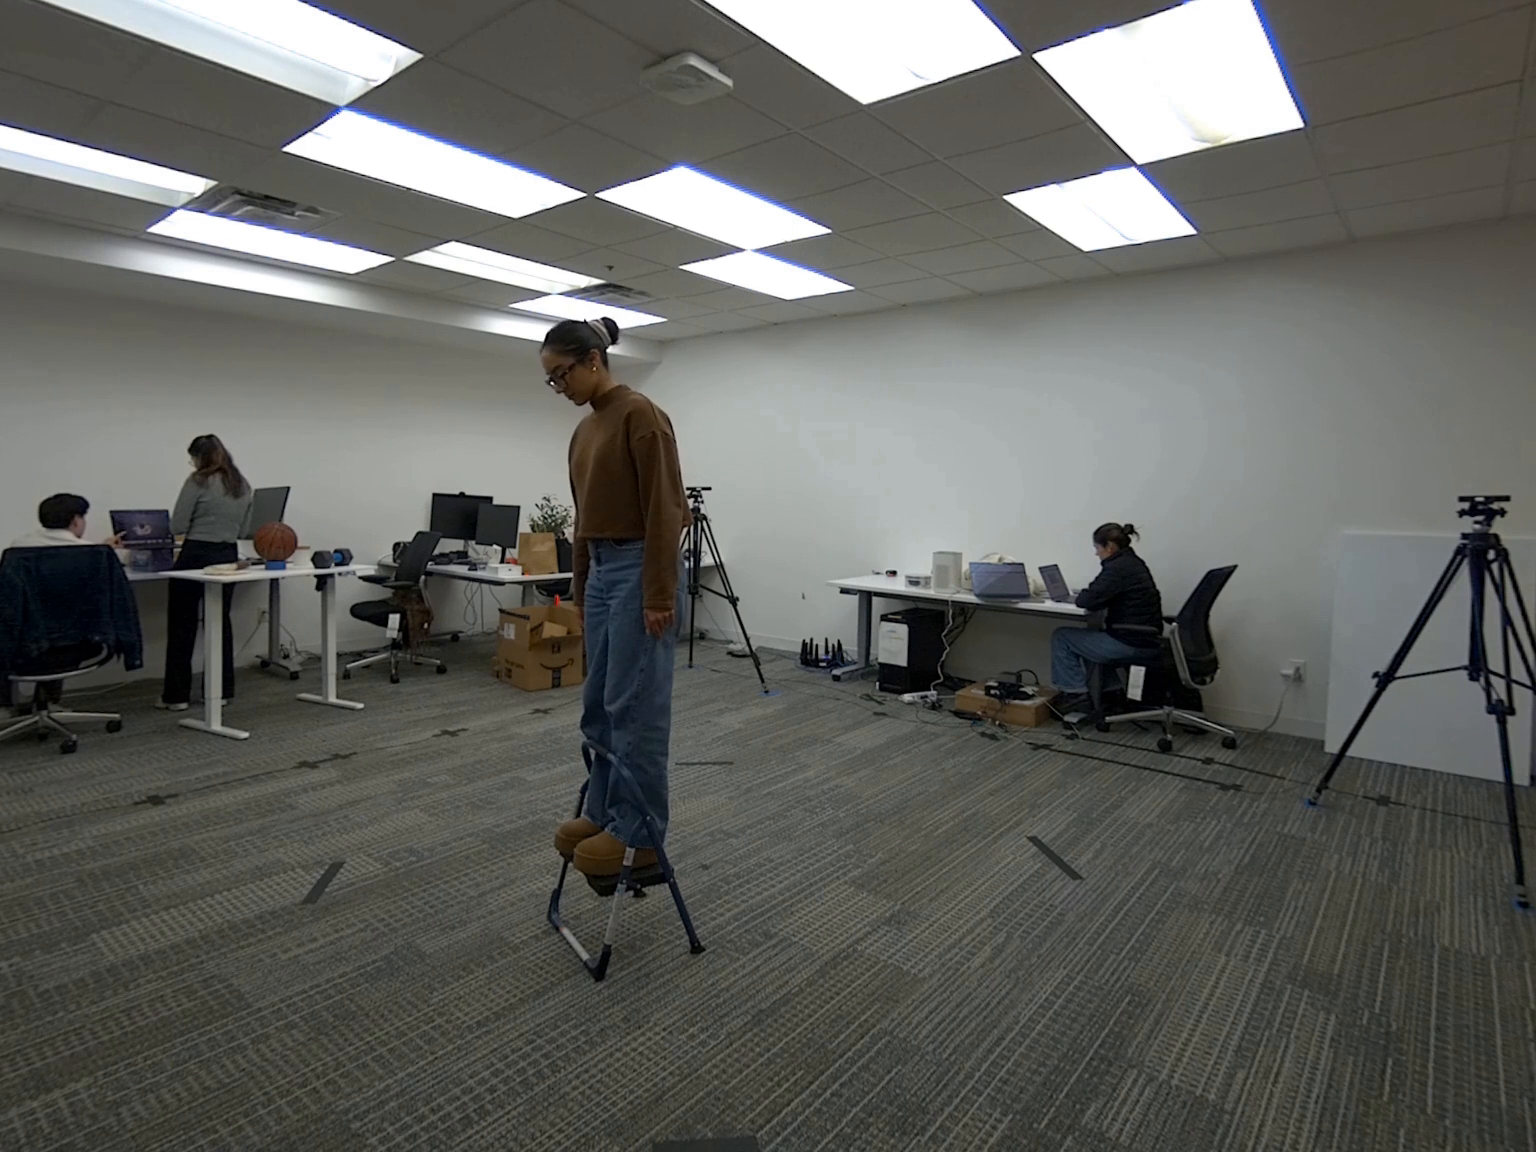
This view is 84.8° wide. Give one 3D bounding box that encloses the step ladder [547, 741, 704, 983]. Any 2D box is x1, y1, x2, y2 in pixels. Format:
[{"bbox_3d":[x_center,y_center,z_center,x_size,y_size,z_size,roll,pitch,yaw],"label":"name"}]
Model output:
[{"bbox_3d":[-0.460,0.809,2.620,0.339,0.603,0.445,-2,6,-34],"label":"step ladder"}]
